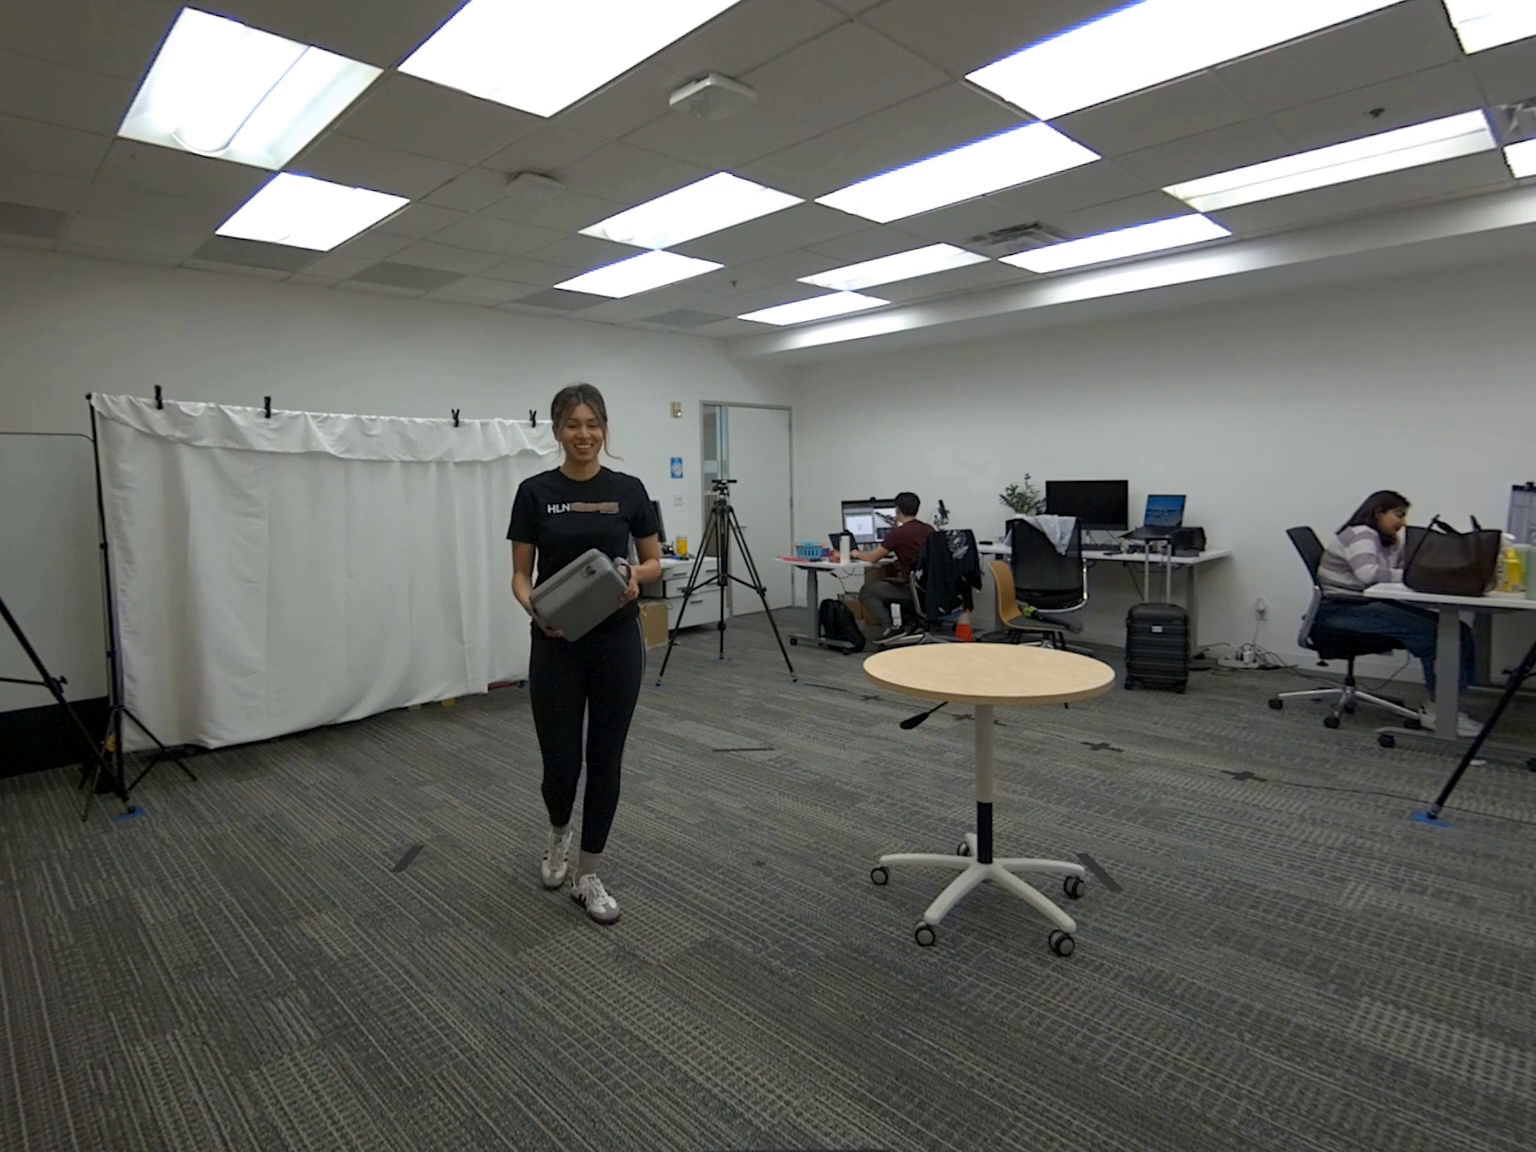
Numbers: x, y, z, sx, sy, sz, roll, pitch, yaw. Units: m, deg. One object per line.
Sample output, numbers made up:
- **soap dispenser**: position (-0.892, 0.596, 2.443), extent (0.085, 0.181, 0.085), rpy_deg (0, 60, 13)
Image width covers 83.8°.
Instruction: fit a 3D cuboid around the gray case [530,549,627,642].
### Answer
- **gray case**: position (-0.547, 0.059, 2.530), extent (0.260, 0.107, 0.250), rpy_deg (-38, -22, -6)
